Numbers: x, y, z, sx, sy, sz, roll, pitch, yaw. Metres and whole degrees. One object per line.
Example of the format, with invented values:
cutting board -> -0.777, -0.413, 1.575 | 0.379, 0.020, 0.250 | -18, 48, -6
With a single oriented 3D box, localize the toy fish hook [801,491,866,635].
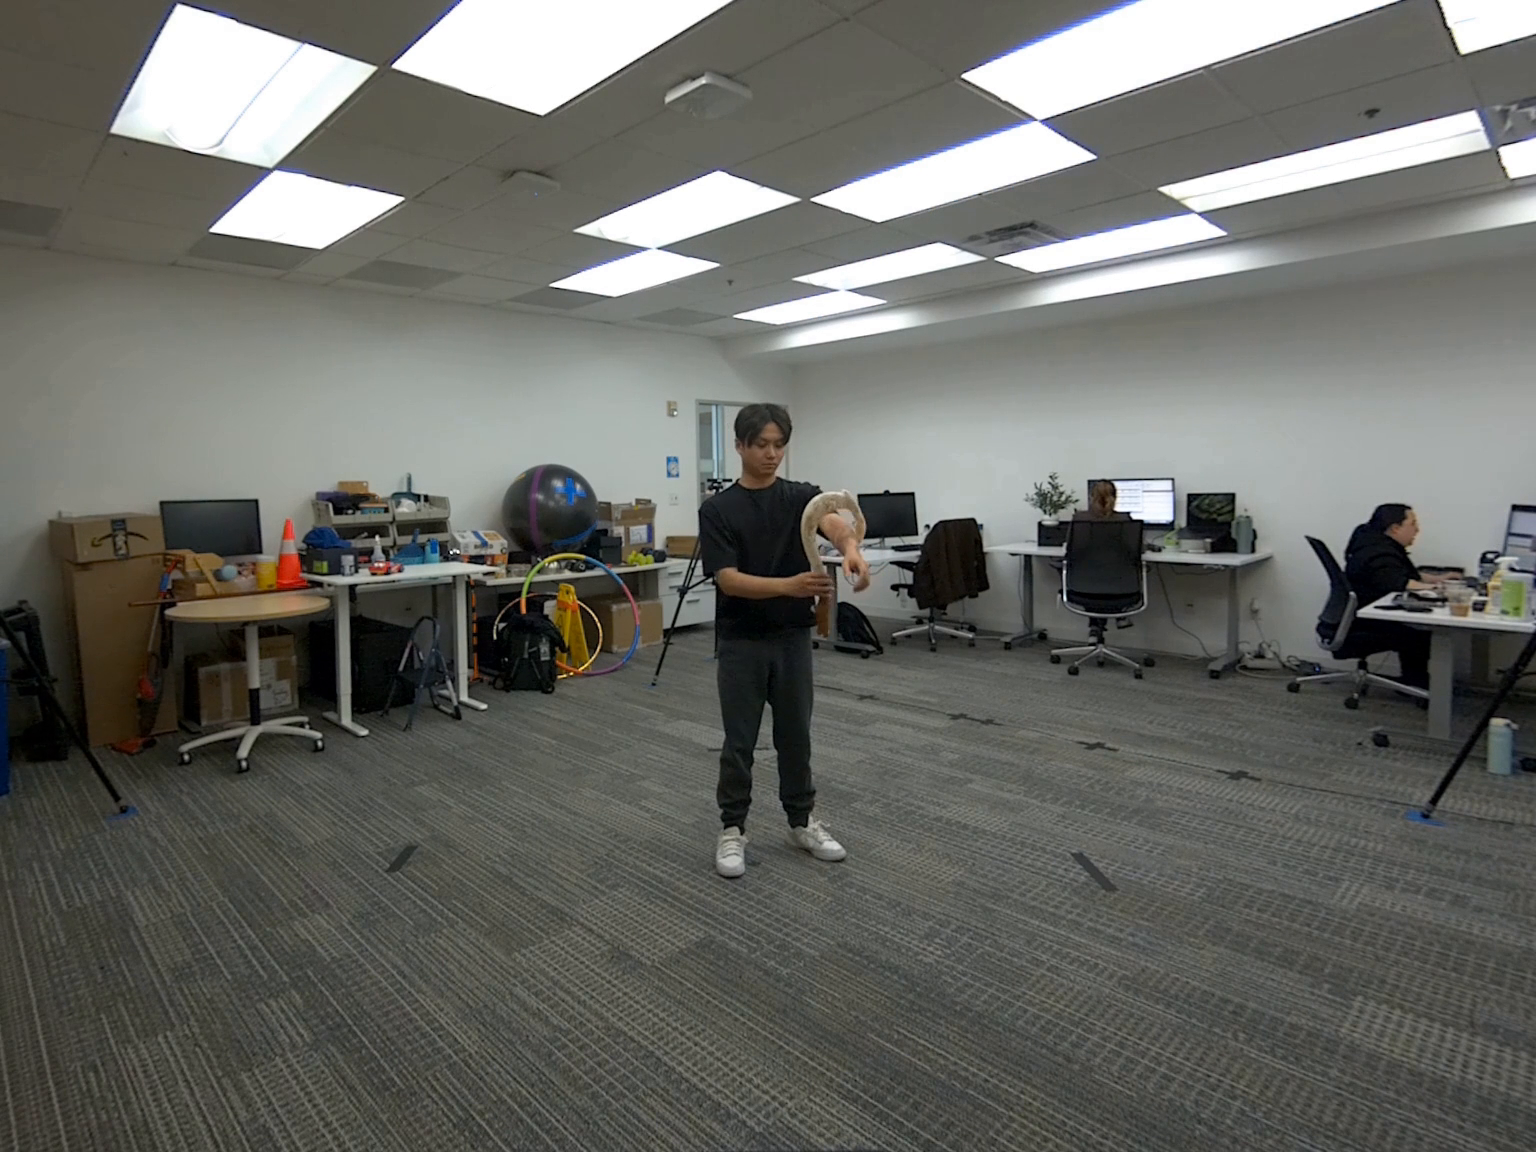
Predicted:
toy fish hook -> 0.222, -0.025, 2.814 | 0.223, 0.496, 0.049 | -9, 21, -10
